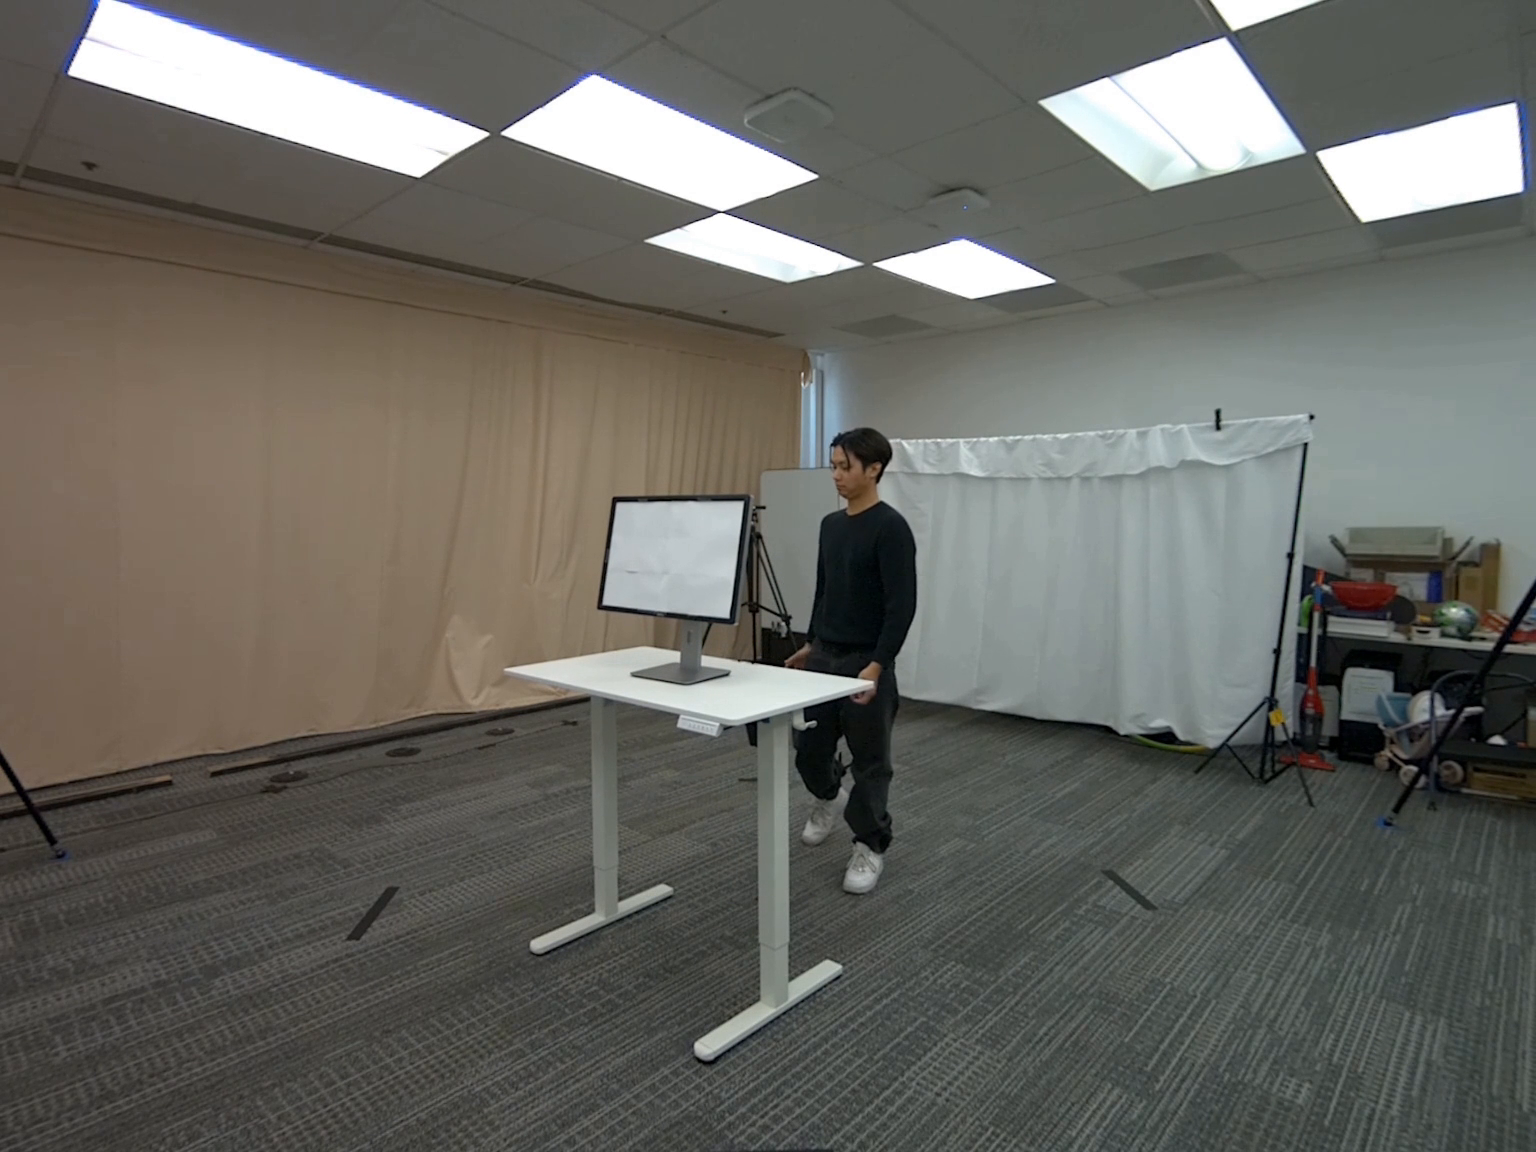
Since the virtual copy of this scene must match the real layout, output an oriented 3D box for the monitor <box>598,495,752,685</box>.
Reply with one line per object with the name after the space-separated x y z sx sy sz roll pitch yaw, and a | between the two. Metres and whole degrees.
-0.260 0.035 2.522 0.556 0.521 0.182 2 5 37 | monitor
